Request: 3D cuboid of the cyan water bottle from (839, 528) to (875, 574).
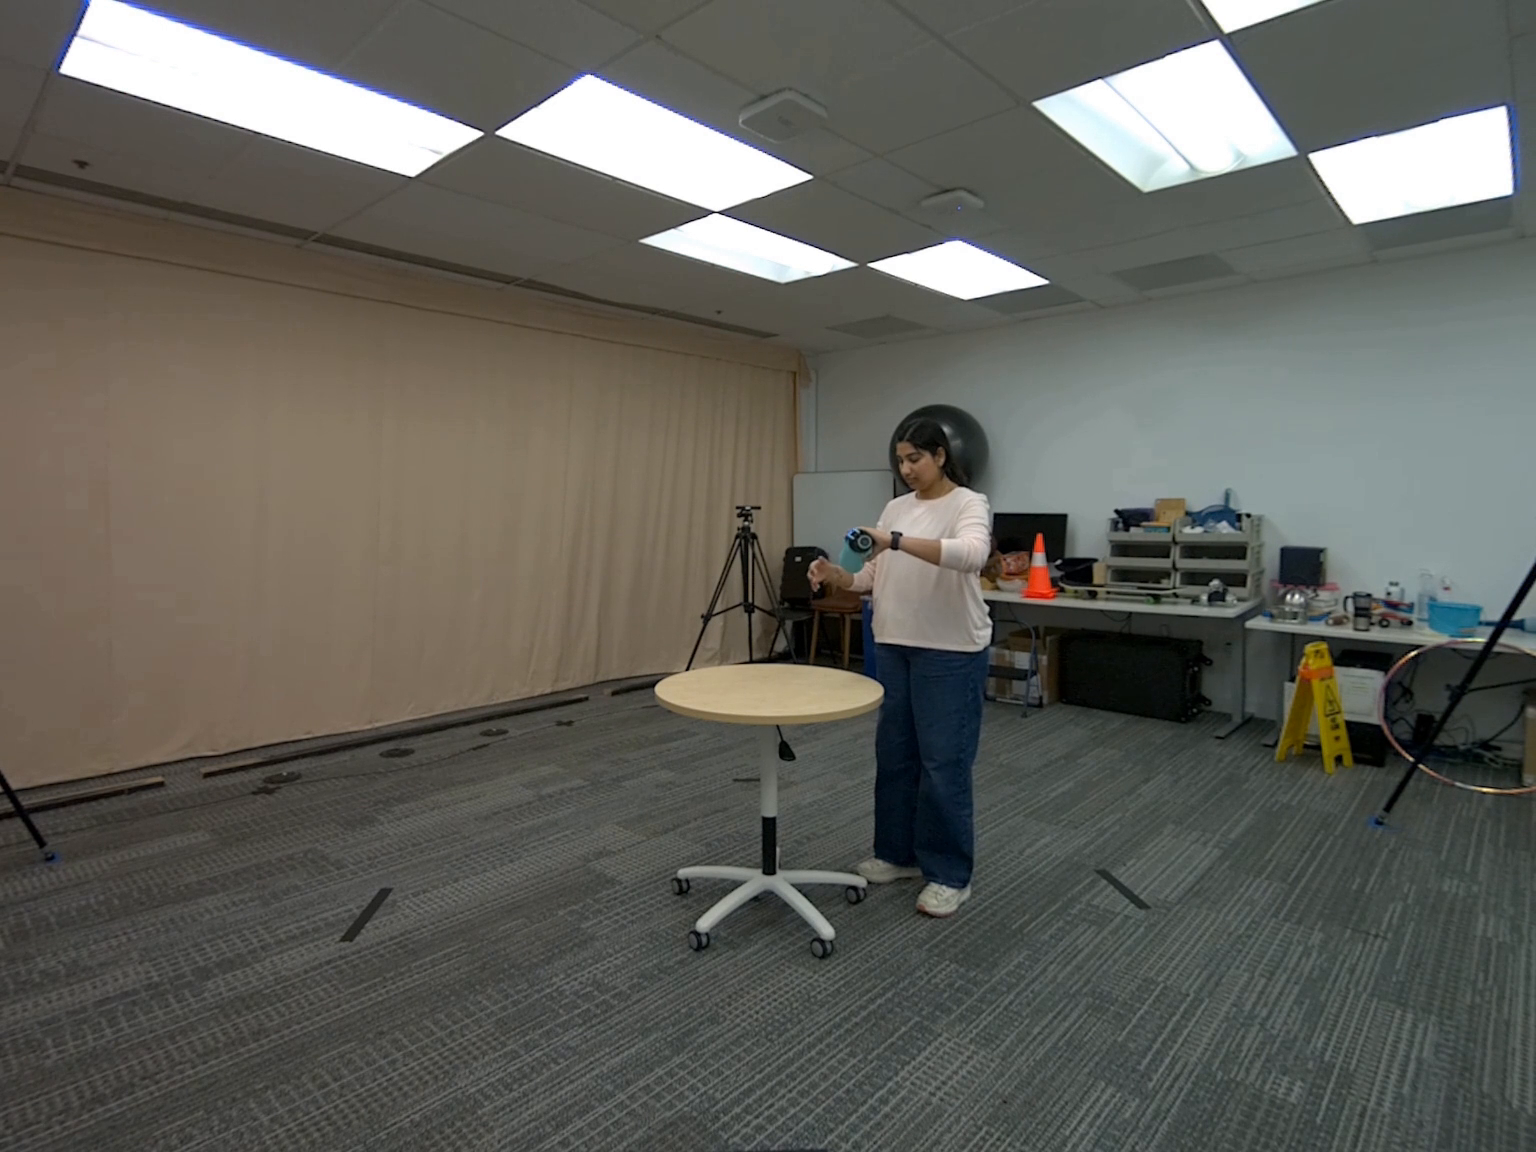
[{"bbox_3d":[0.300,-0.079,2.806,0.092,0.093,0.281,0,-13,-1],"label":"cyan water bottle"}]
